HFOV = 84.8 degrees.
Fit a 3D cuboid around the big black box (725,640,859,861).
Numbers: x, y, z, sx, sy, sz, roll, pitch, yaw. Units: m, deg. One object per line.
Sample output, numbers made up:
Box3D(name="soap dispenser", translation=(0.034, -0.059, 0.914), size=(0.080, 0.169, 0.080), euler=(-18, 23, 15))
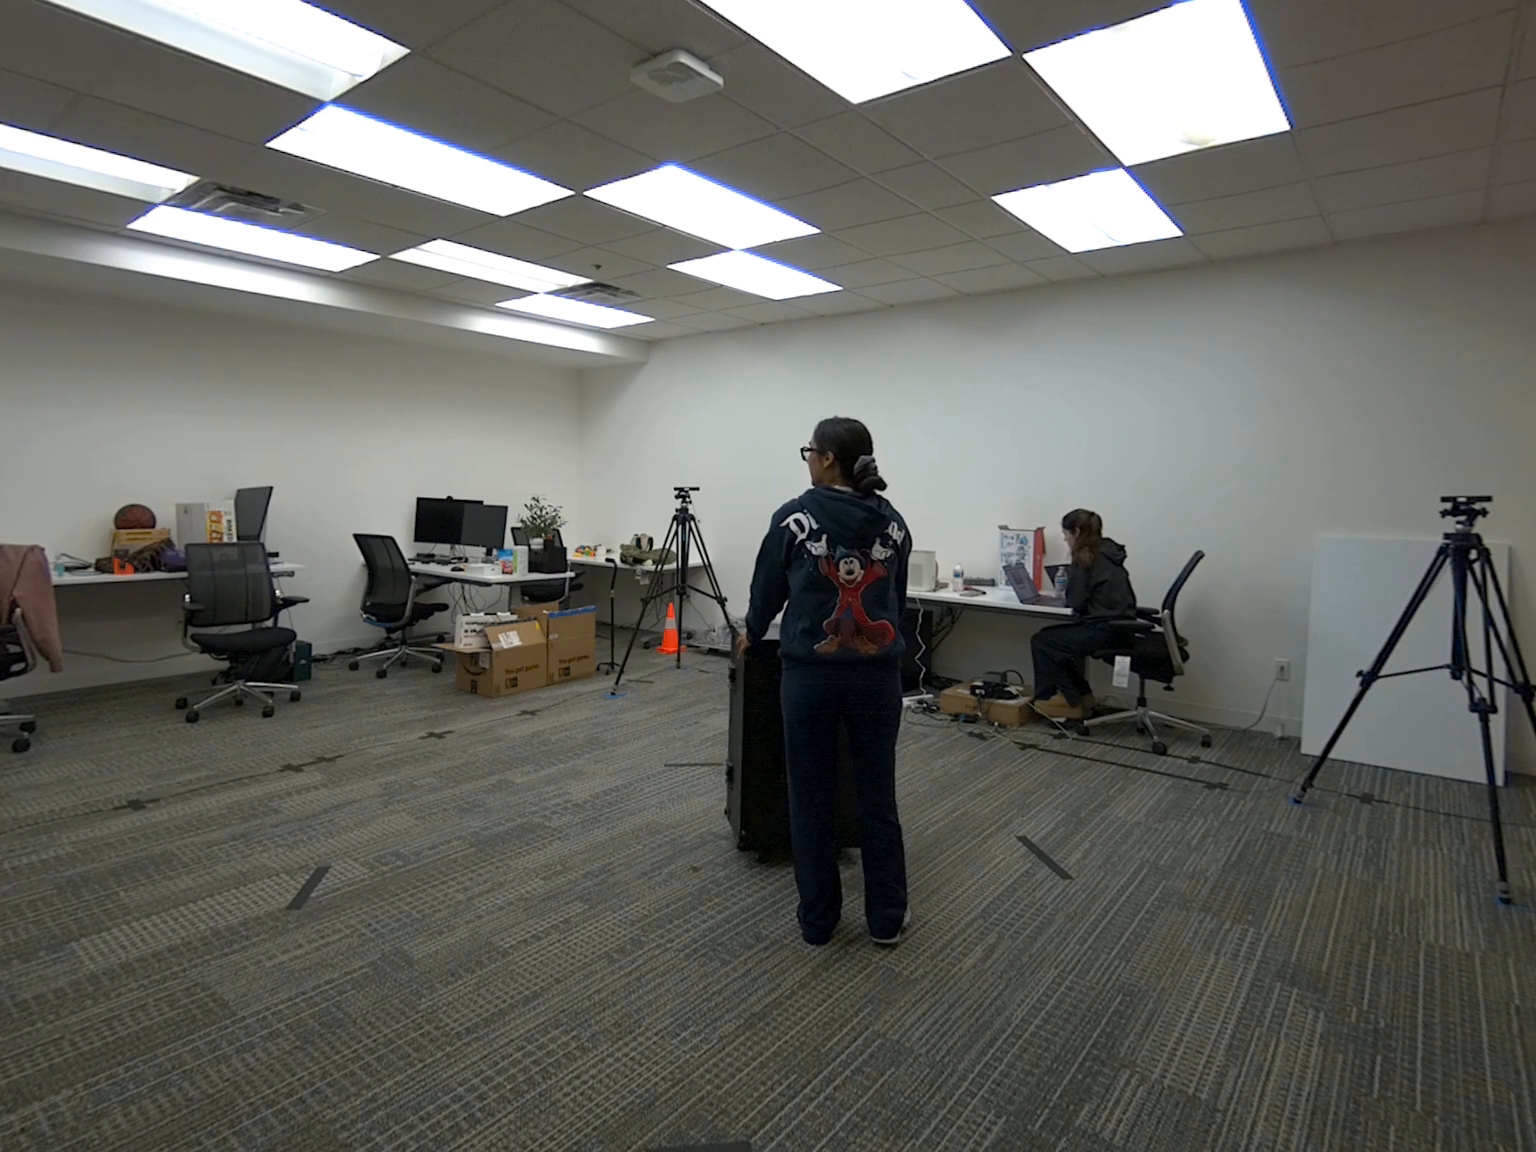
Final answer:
Box3D(name="big black box", translation=(0.107, 0.635, 3.272), size=(0.516, 0.858, 0.402), euler=(2, 5, -9))
